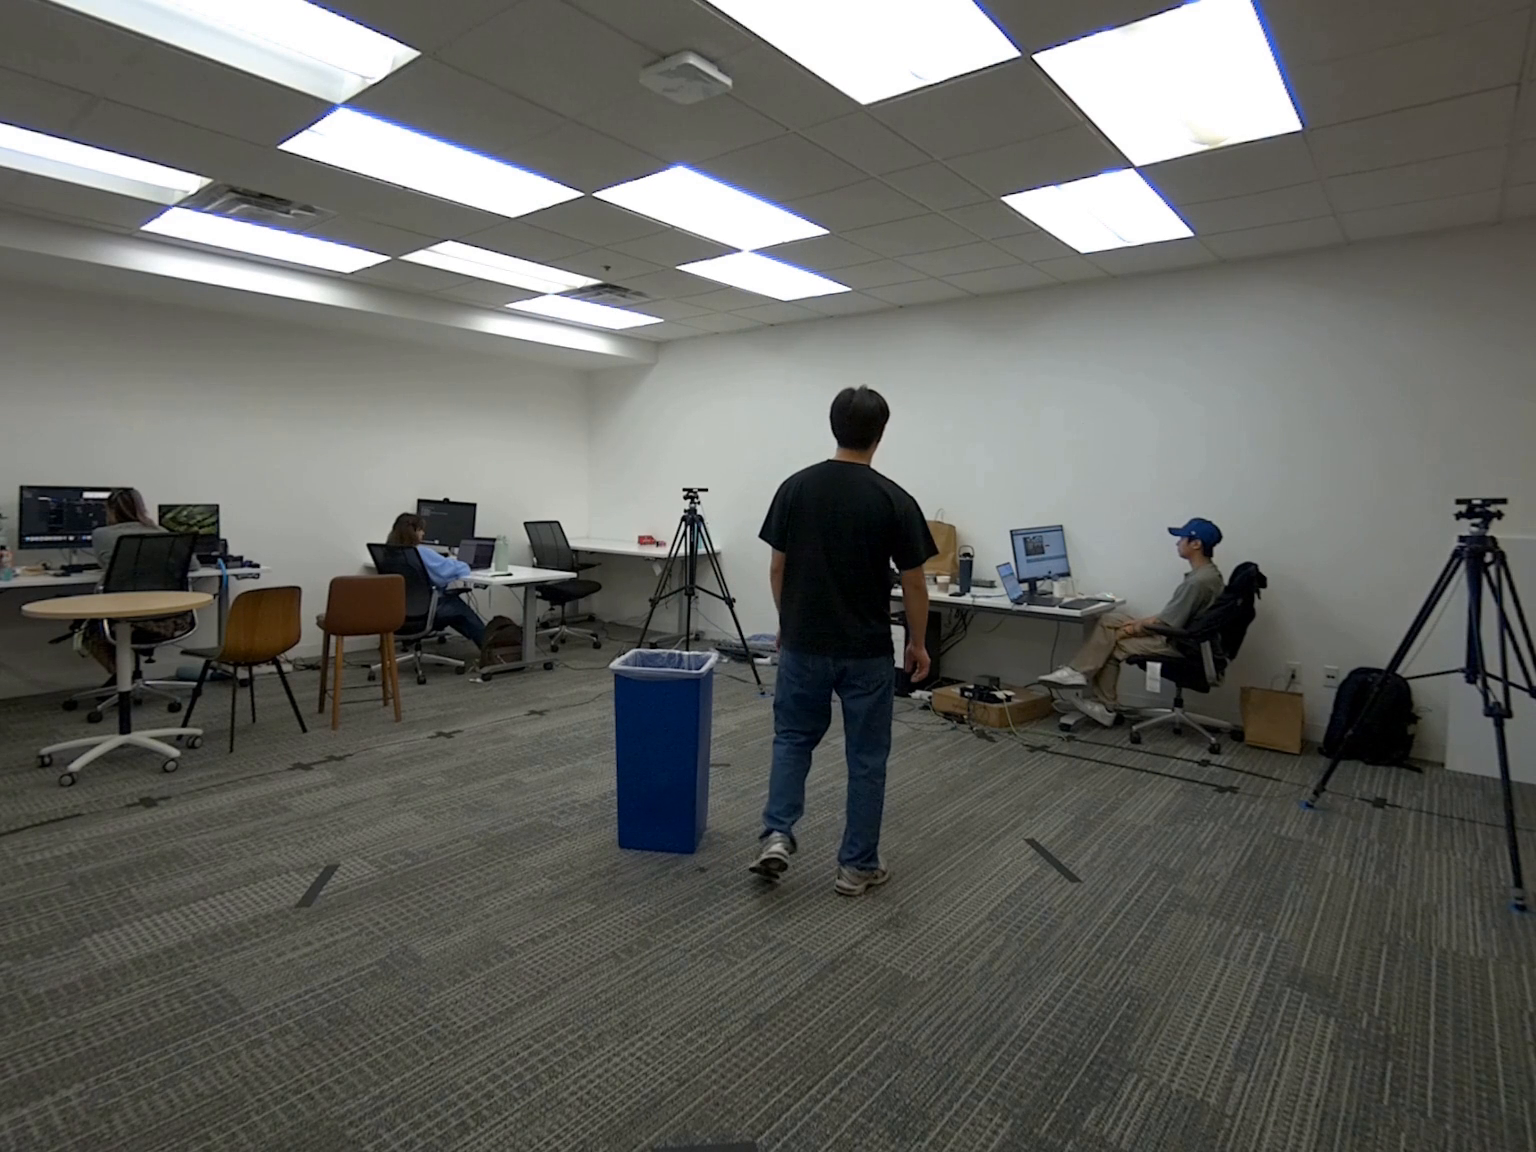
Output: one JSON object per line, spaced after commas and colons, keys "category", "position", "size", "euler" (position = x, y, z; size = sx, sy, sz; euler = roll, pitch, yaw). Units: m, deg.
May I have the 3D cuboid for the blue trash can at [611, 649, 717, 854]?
{"category": "blue trash can", "position": [-0.426, 0.680, 3.391], "size": [0.381, 0.710, 0.372], "euler": [2, 5, 7]}
